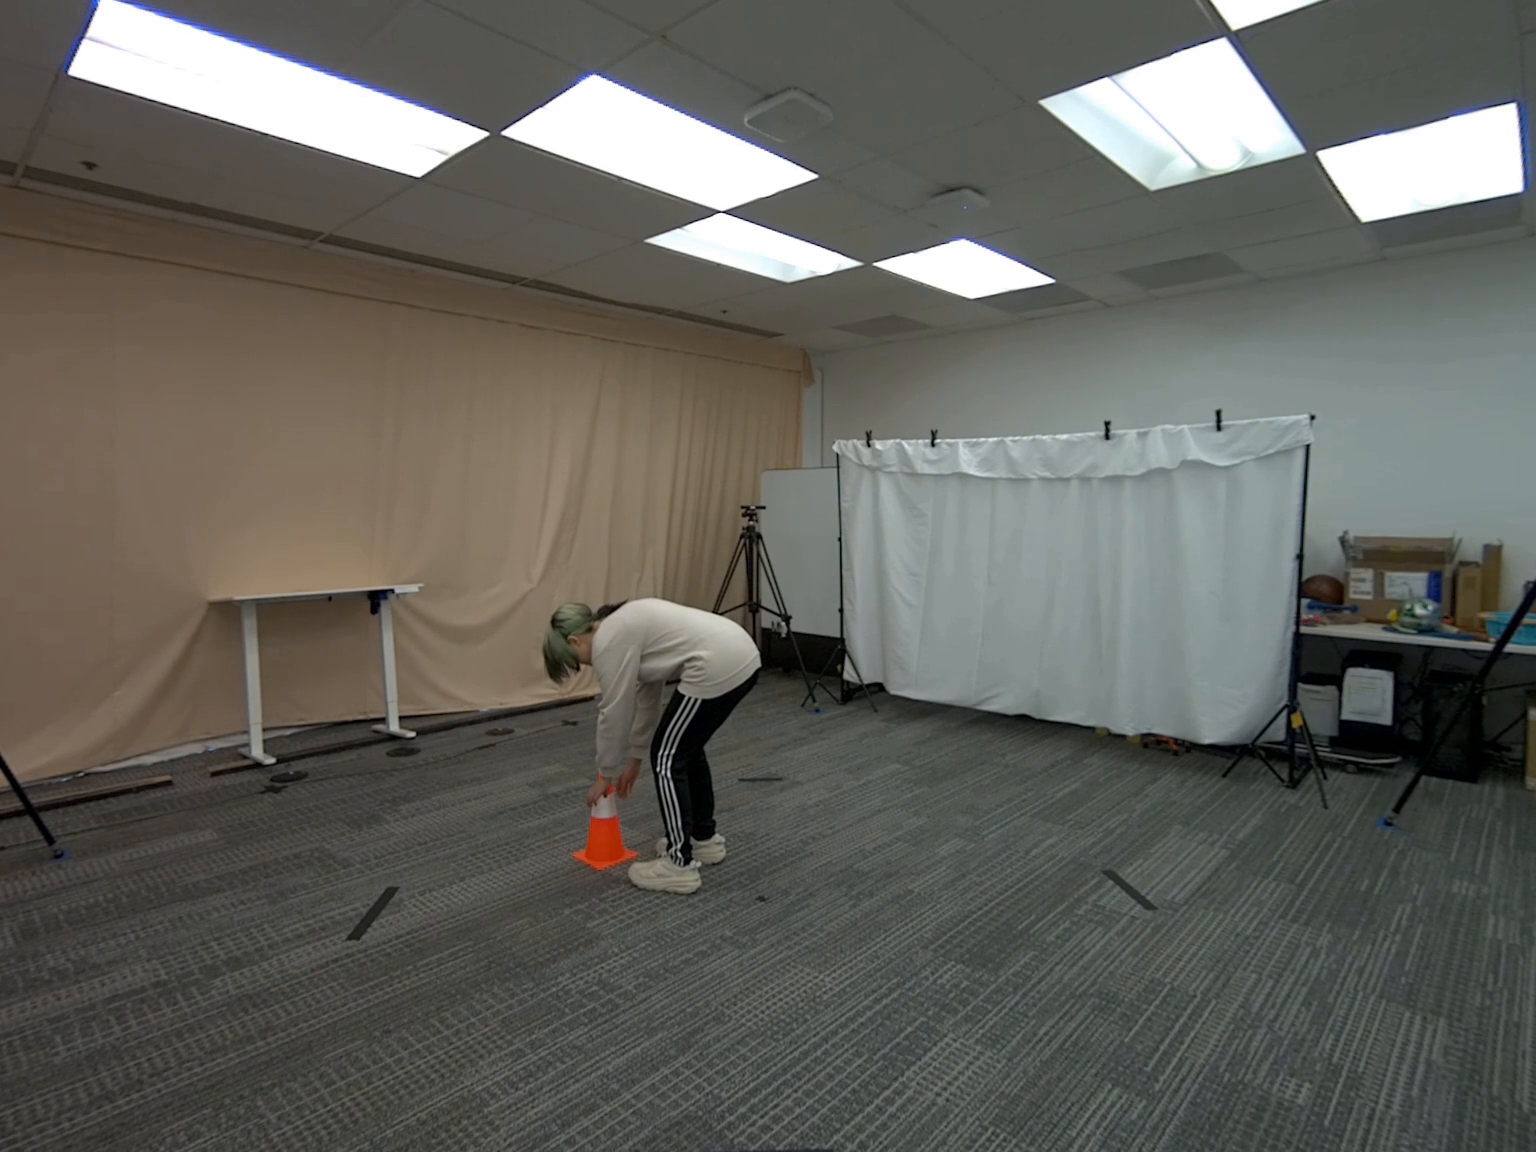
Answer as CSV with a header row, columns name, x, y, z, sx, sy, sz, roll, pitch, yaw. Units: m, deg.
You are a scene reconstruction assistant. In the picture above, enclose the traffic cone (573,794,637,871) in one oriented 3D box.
name,x,y,z,sx,sy,sz,roll,pitch,yaw
traffic cone,-0.647,0.934,3.366,0.210,0.383,0.198,3,3,43
